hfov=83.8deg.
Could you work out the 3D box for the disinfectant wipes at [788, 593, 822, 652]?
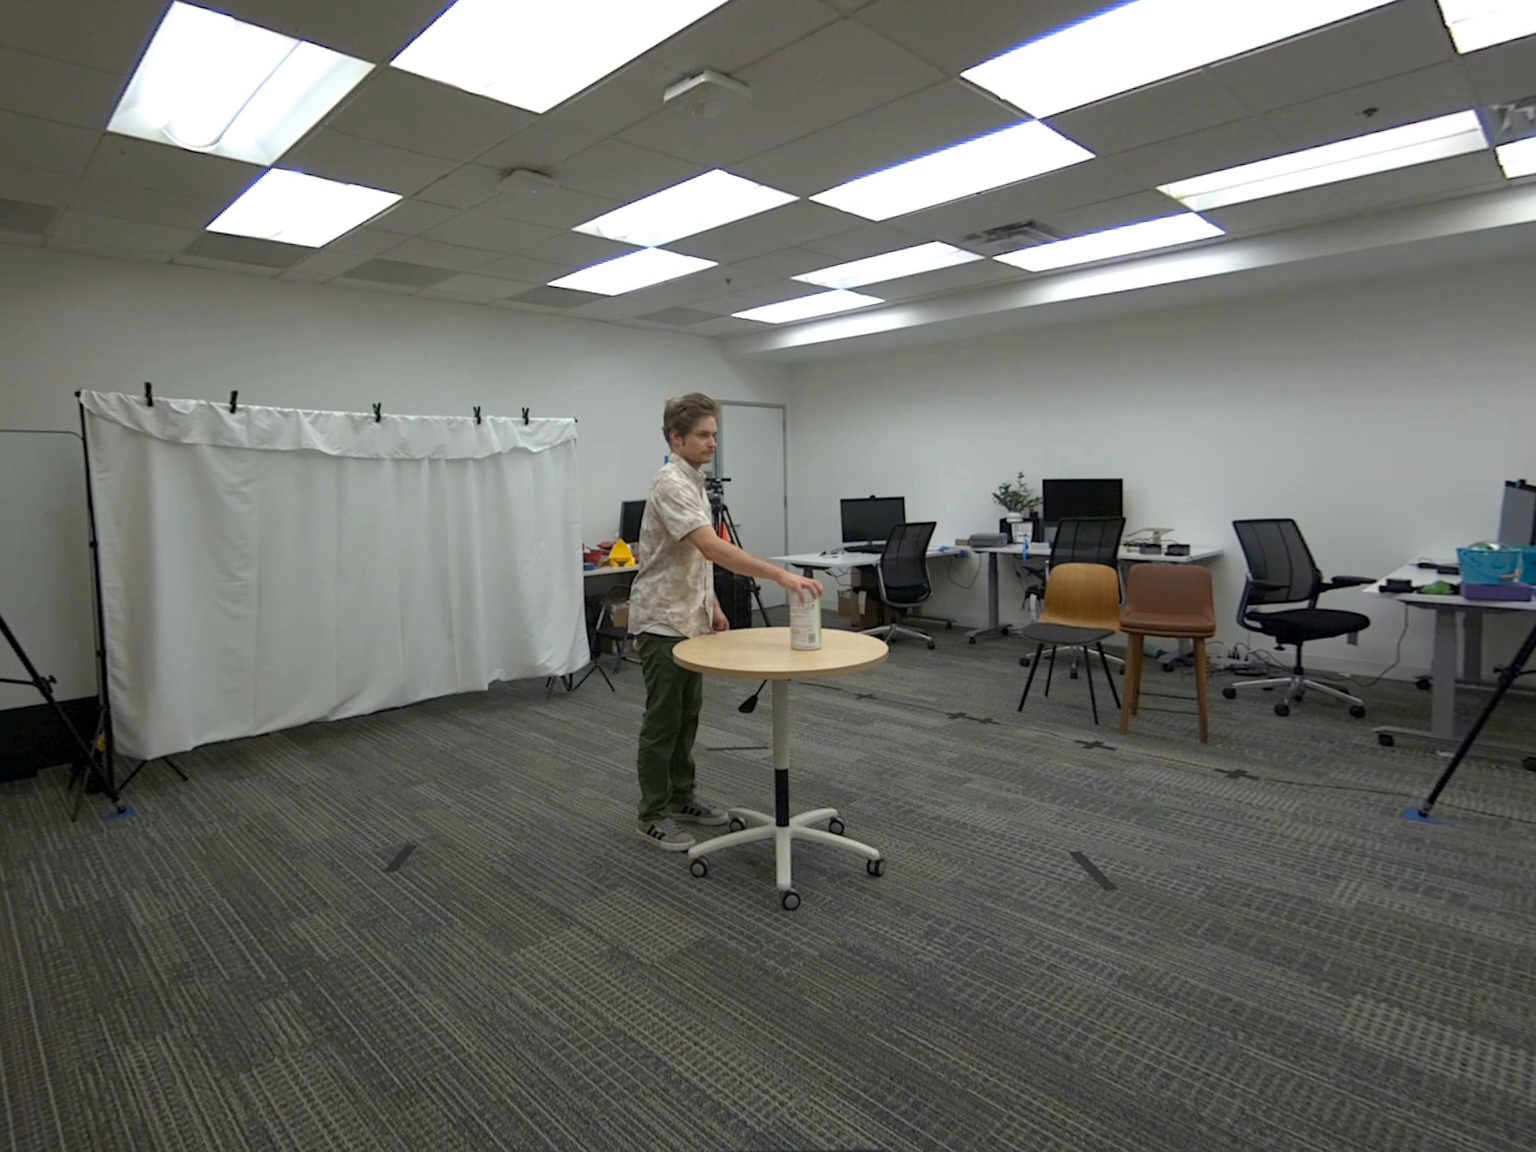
[{"bbox_3d":[0.135,0.152,3.013,0.118,0.217,0.118,-3,4,-1],"label":"disinfectant wipes"}]
